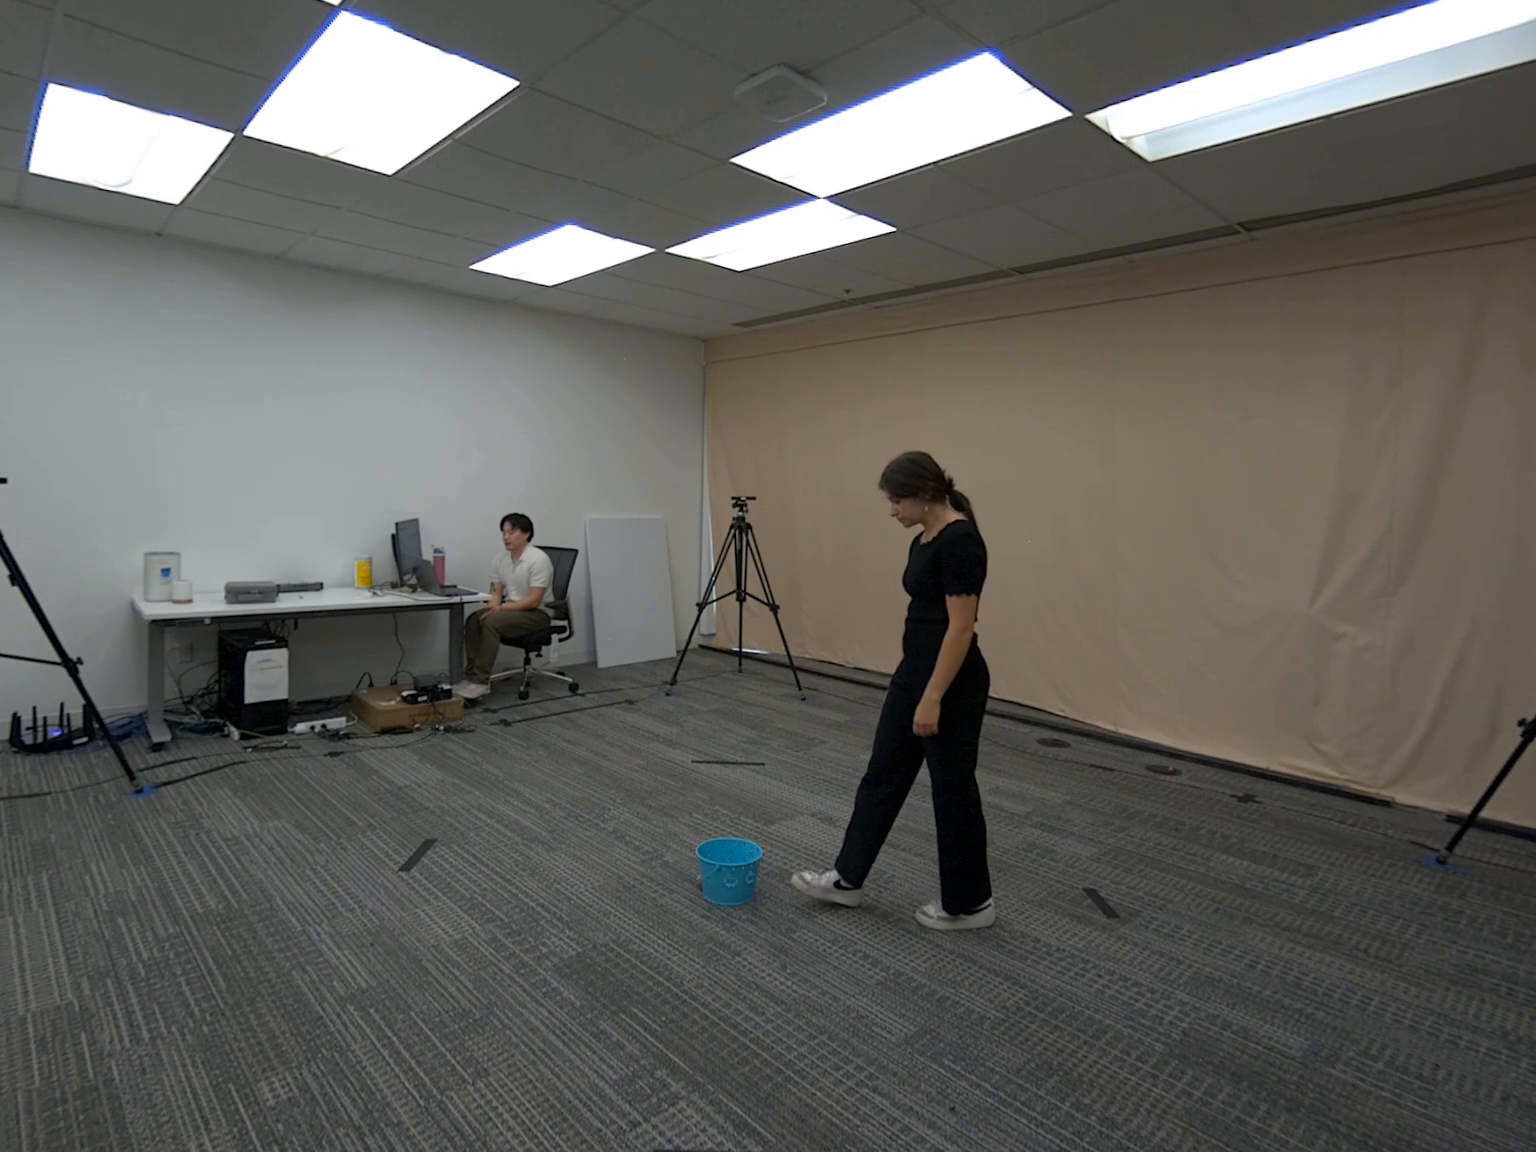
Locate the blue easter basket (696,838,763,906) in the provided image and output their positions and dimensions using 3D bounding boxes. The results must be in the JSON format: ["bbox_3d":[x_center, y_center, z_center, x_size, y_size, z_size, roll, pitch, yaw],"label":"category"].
[{"bbox_3d":[-0.148,1.036,2.969,0.243,0.155,0.245,2,6,-2],"label":"blue easter basket"}]
